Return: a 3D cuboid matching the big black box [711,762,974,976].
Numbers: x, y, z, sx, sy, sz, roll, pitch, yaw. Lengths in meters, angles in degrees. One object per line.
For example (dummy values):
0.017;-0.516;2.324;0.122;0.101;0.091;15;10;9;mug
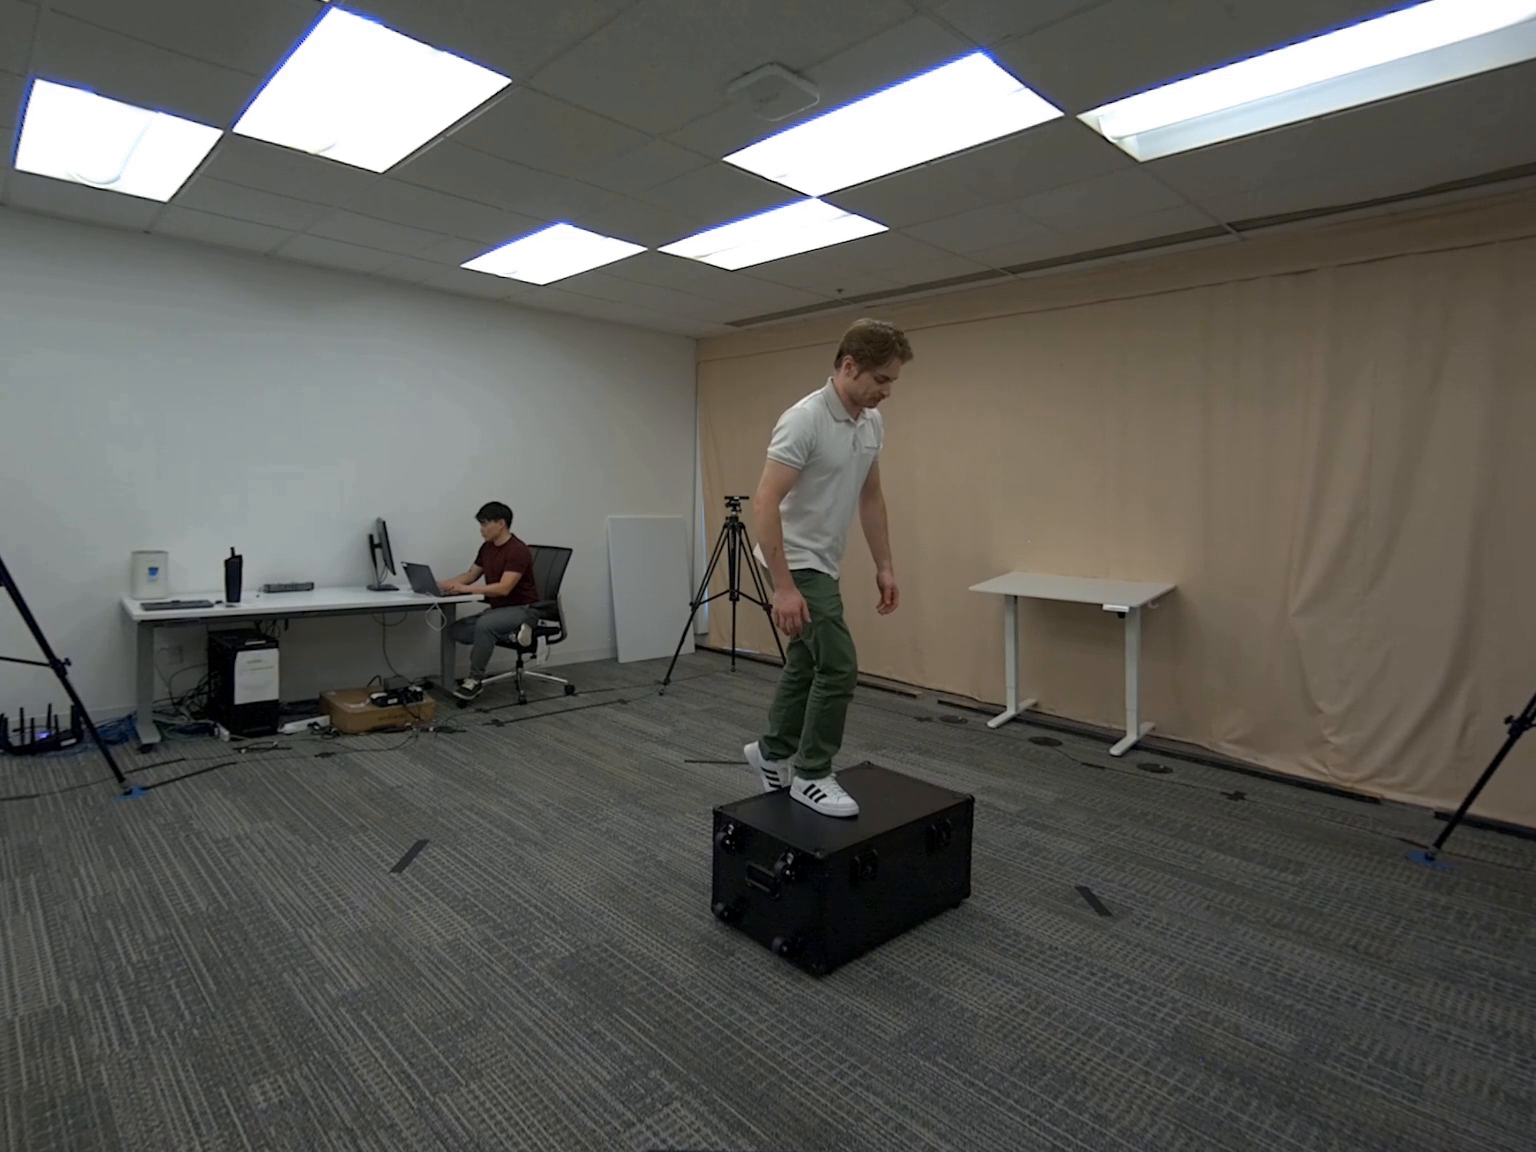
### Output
0.231;0.949;2.825;0.841;0.395;0.535;-2;6;-43;big black box
